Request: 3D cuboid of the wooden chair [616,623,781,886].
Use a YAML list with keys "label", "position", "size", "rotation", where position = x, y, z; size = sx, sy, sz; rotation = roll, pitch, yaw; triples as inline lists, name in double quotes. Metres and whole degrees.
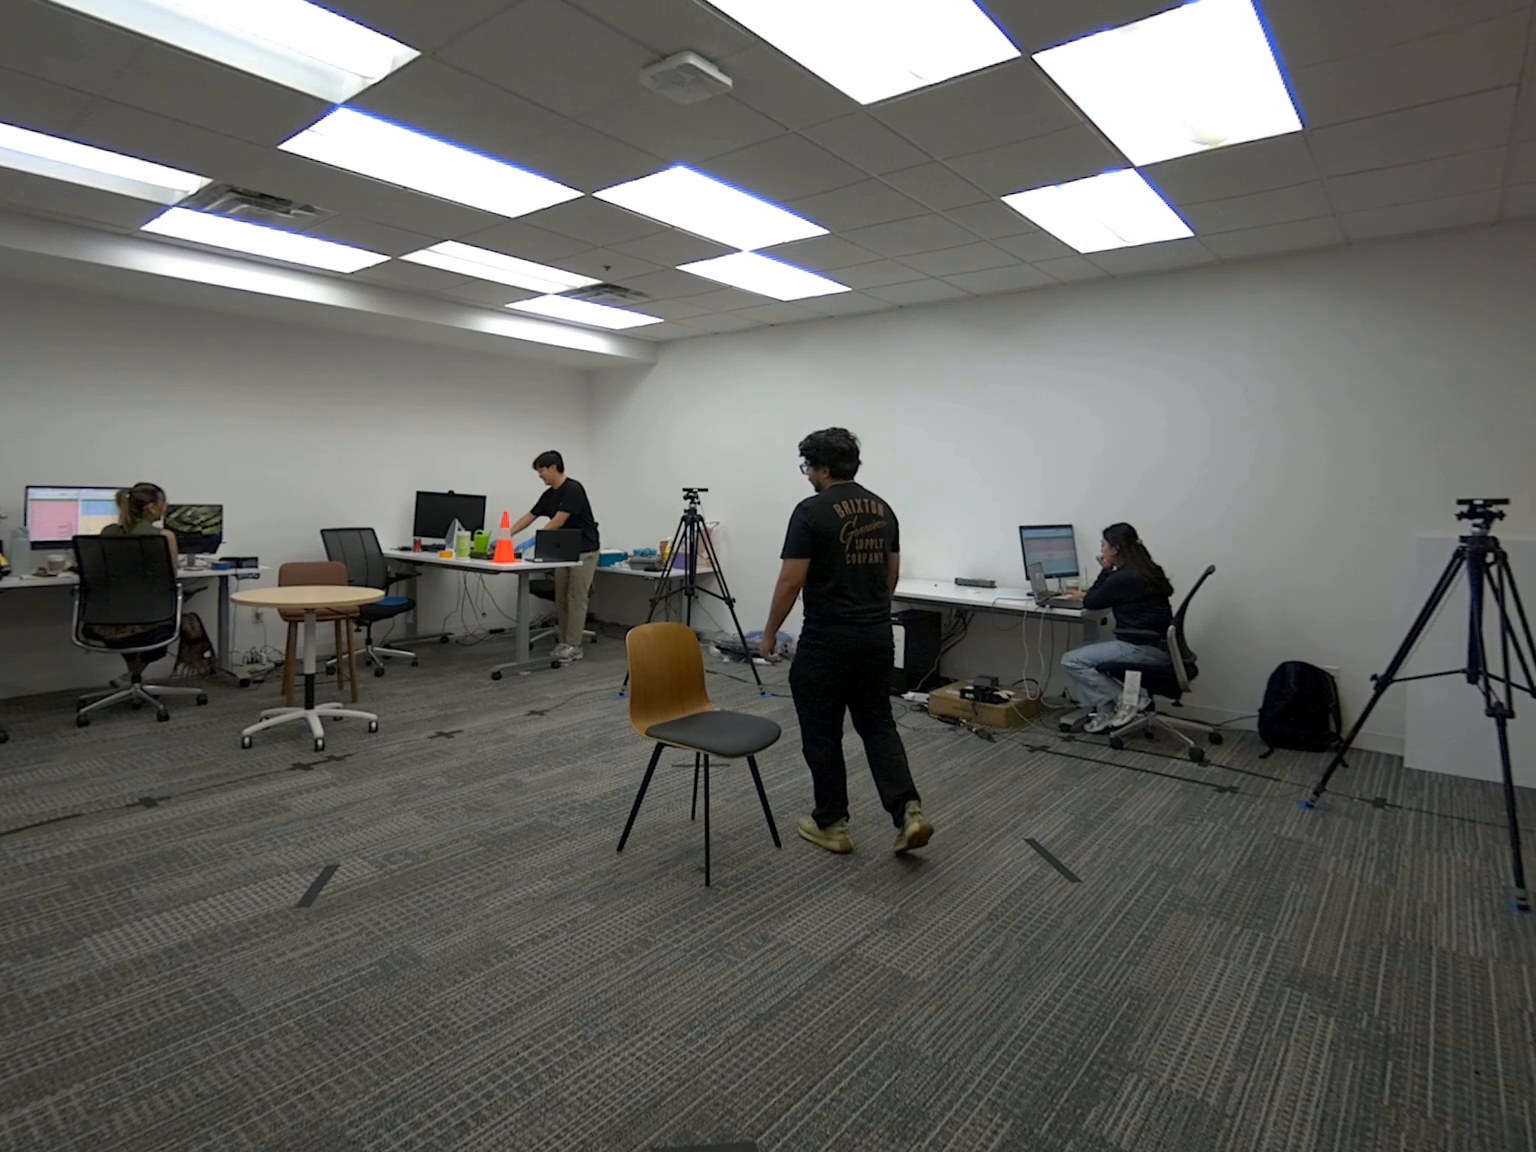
- label: "wooden chair"
  position: [-0.257, 0.626, 3.251]
  size: [0.539, 0.878, 0.464]
  rotation: [-2, 0, 38]
